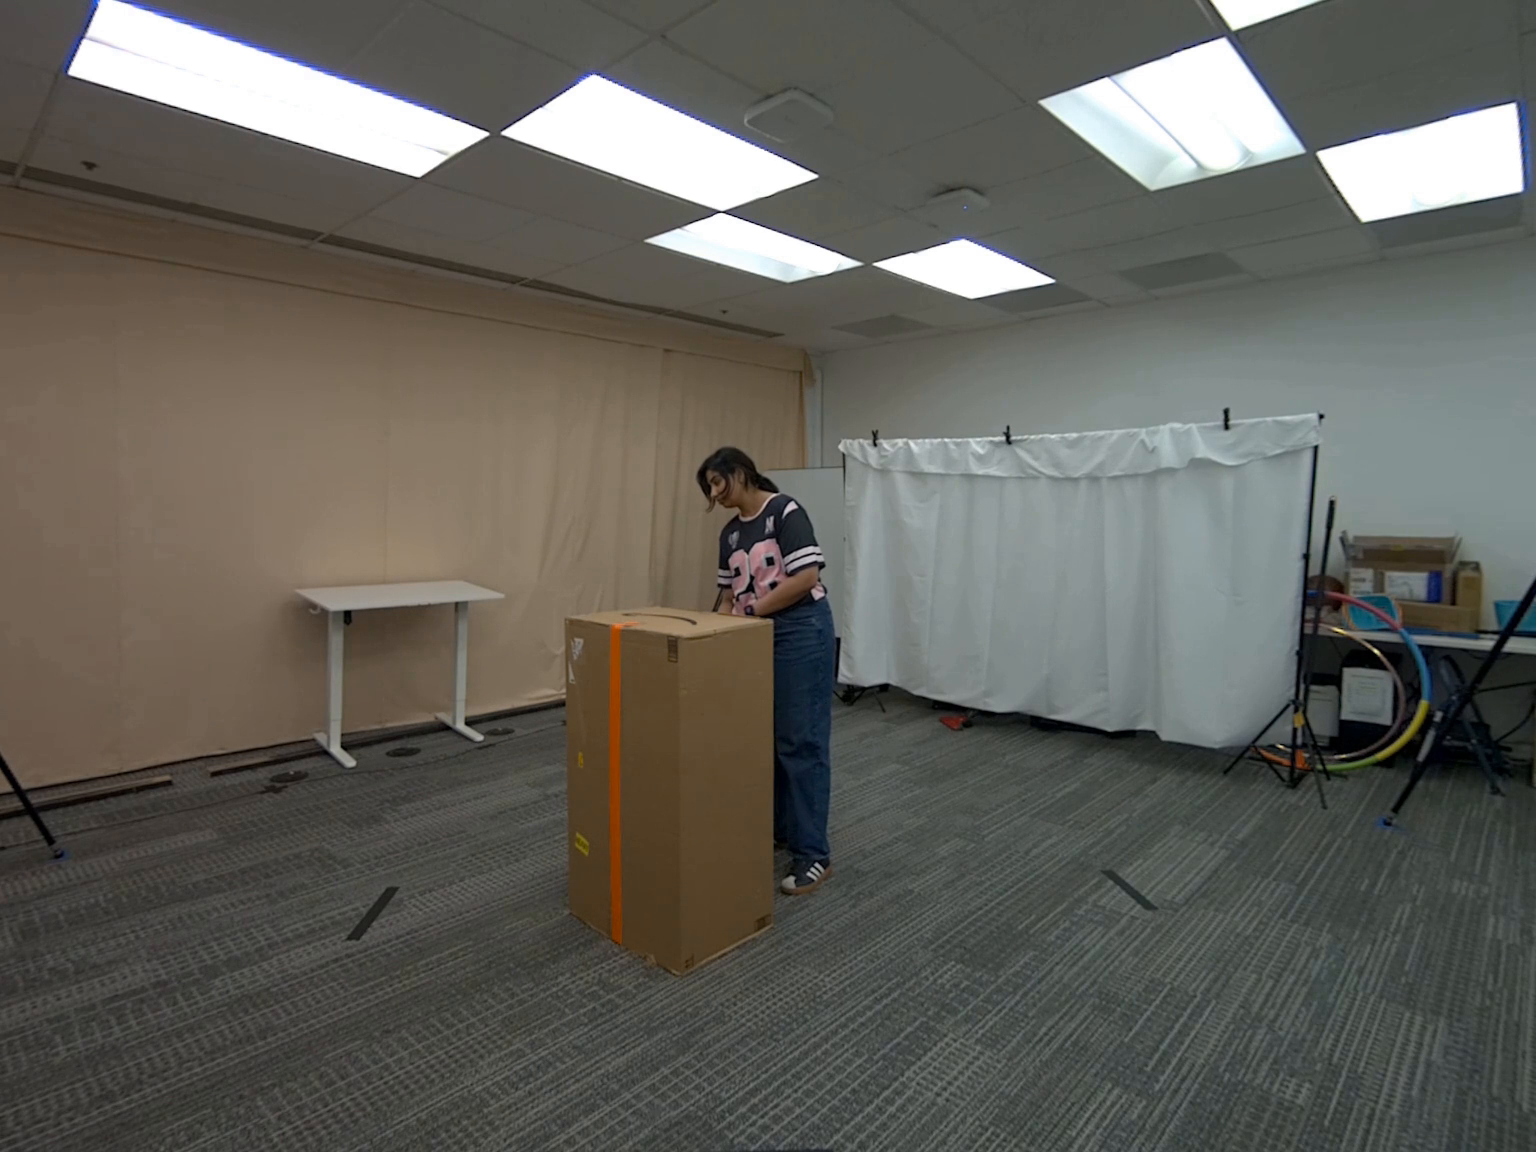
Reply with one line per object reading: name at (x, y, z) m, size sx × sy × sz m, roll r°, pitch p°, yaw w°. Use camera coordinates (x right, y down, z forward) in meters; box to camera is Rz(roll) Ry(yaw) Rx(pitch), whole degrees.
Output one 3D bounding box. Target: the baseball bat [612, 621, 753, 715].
baseball bat at (-0.326, 0.343, 3.201) m, size 0.540 × 0.088 × 0.090 m, roll -28°, pitch 8°, yaw -7°
